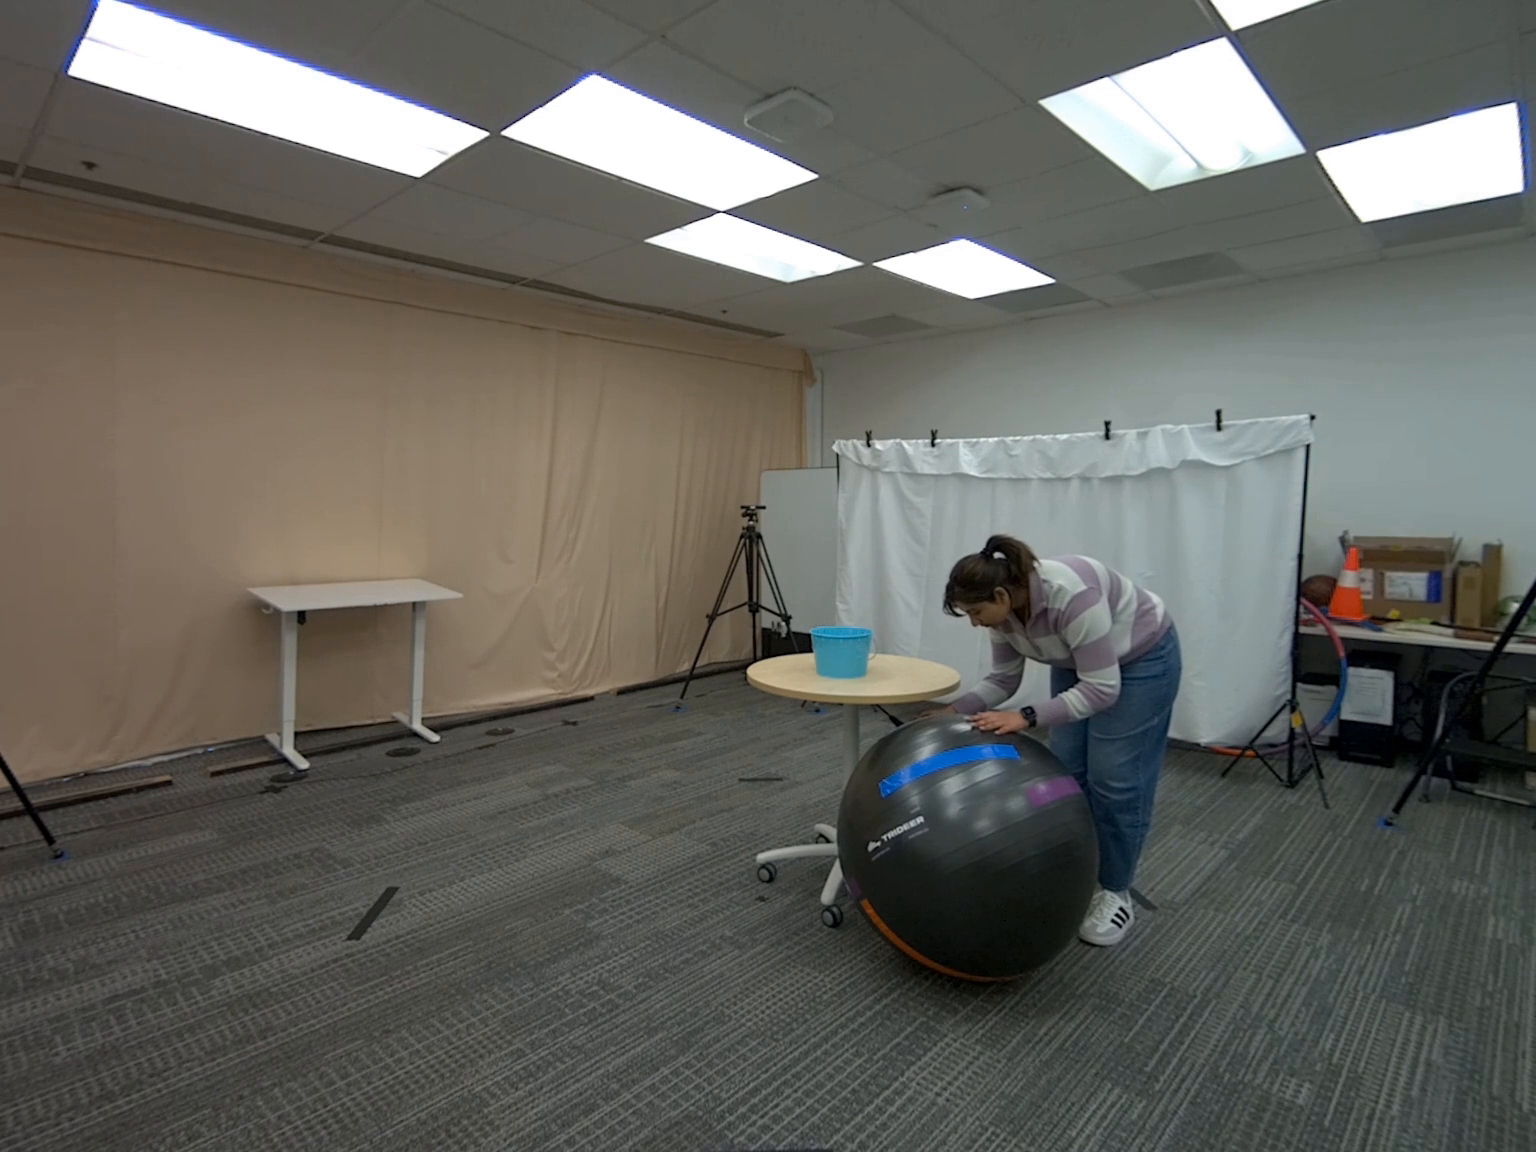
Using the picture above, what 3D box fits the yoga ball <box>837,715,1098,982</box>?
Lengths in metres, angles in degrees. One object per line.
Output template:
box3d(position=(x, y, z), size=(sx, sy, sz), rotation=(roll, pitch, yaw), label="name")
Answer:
box3d(position=(0.595, 0.810, 2.553), size=(0.757, 0.756, 0.760), rotation=(0, 4, -2), label="yoga ball")
